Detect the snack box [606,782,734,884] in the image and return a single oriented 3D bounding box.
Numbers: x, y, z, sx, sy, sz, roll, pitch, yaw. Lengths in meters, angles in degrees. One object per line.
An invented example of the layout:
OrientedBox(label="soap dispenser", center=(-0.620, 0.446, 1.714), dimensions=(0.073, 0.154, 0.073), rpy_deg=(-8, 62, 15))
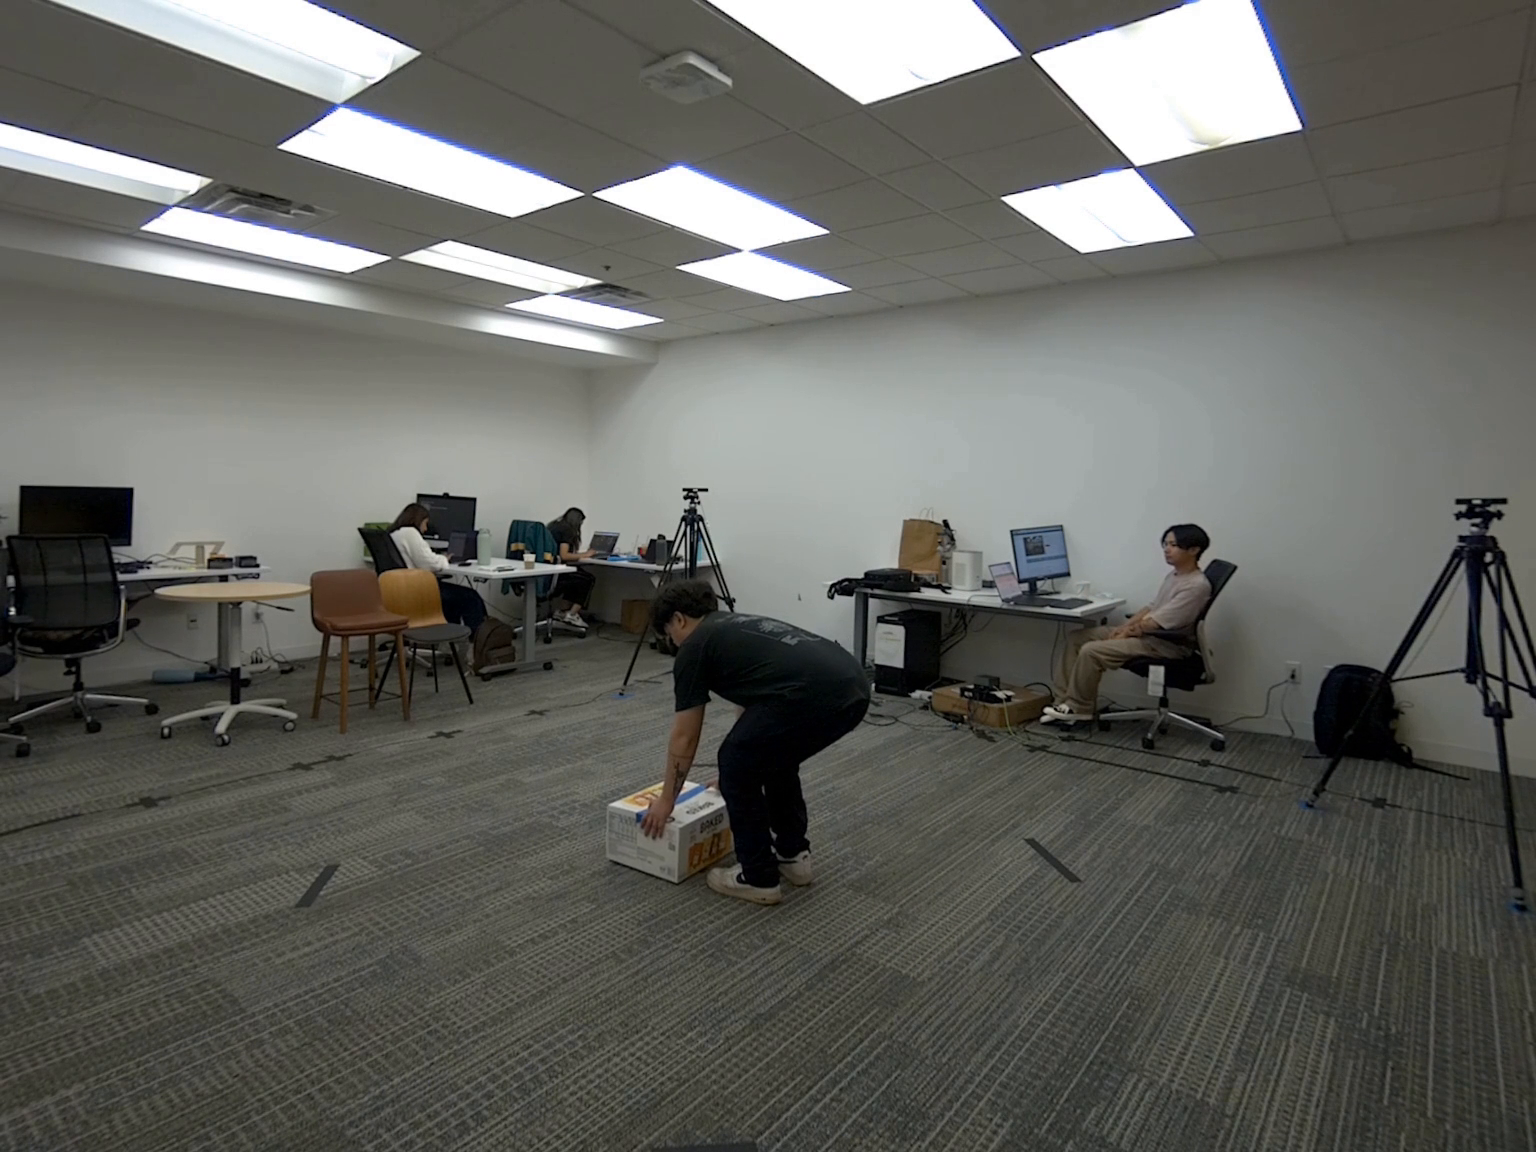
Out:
OrientedBox(label="snack box", center=(-0.361, 0.945, 3.225), dimensions=(0.351, 0.205, 0.394), rpy_deg=(4, 5, 32))
